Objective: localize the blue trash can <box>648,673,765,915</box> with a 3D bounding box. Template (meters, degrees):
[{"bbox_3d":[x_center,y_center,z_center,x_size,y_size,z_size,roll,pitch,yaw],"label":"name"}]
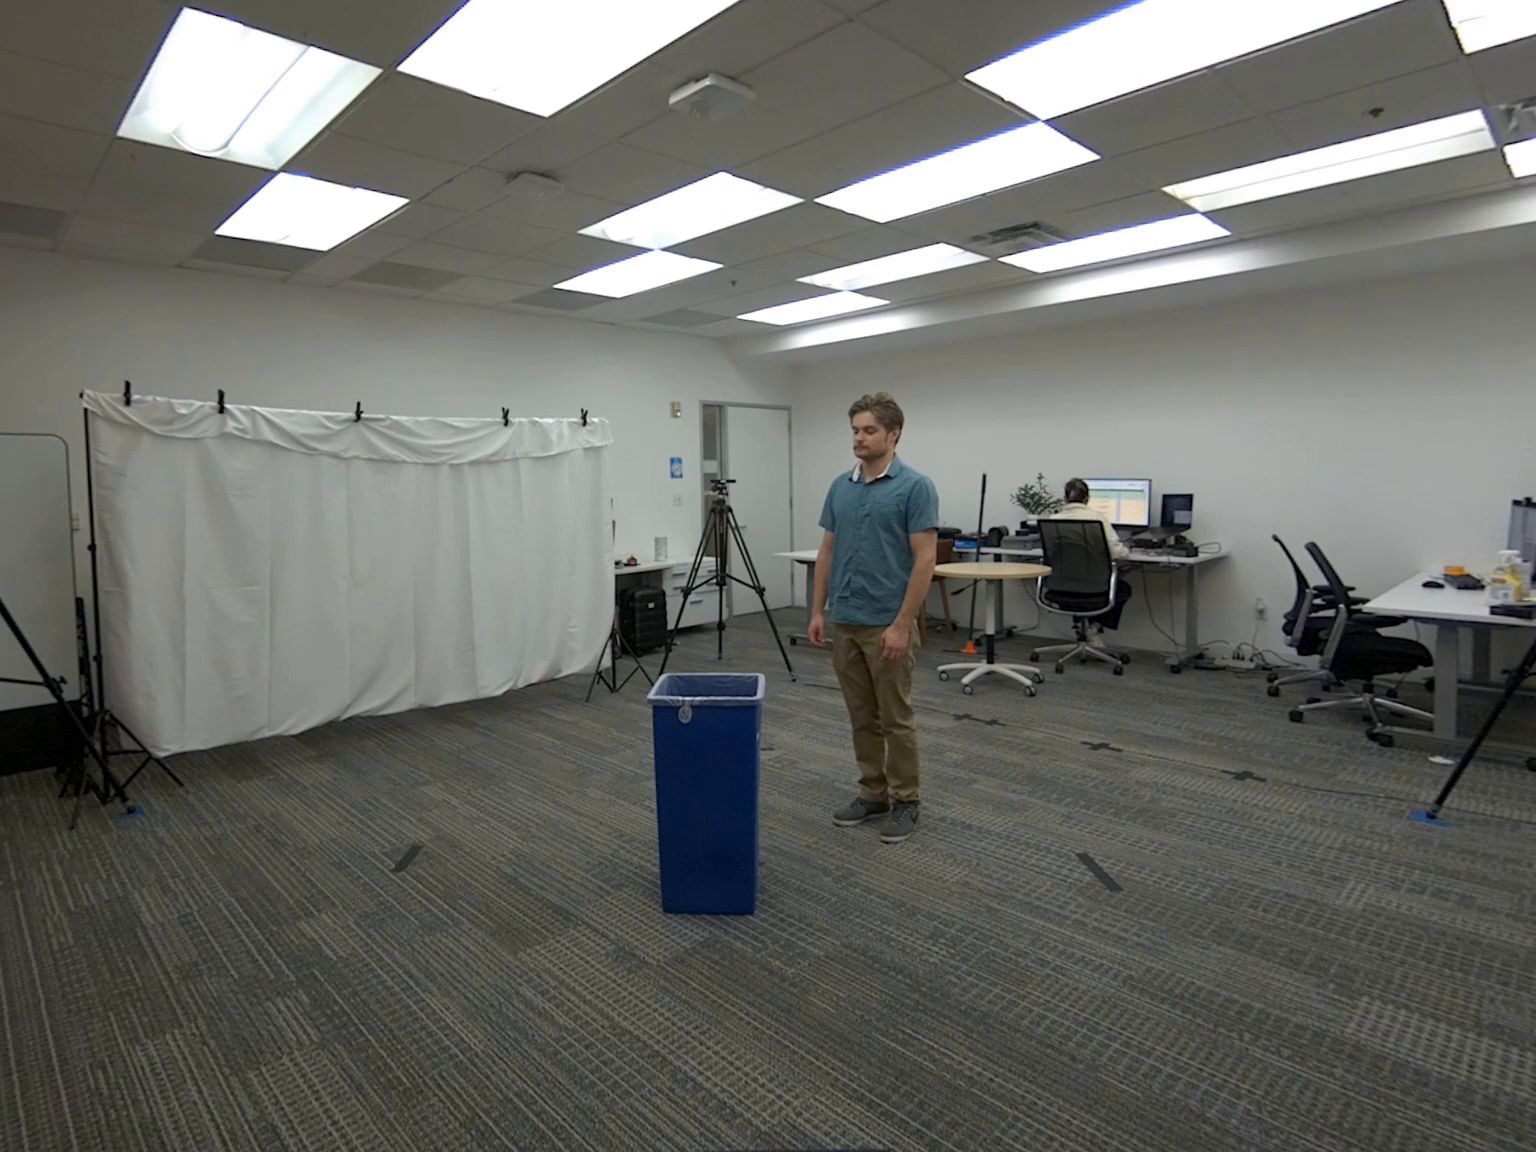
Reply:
[{"bbox_3d":[-0.182,0.721,2.879,0.375,0.711,0.378,-1,3,3],"label":"blue trash can"}]
